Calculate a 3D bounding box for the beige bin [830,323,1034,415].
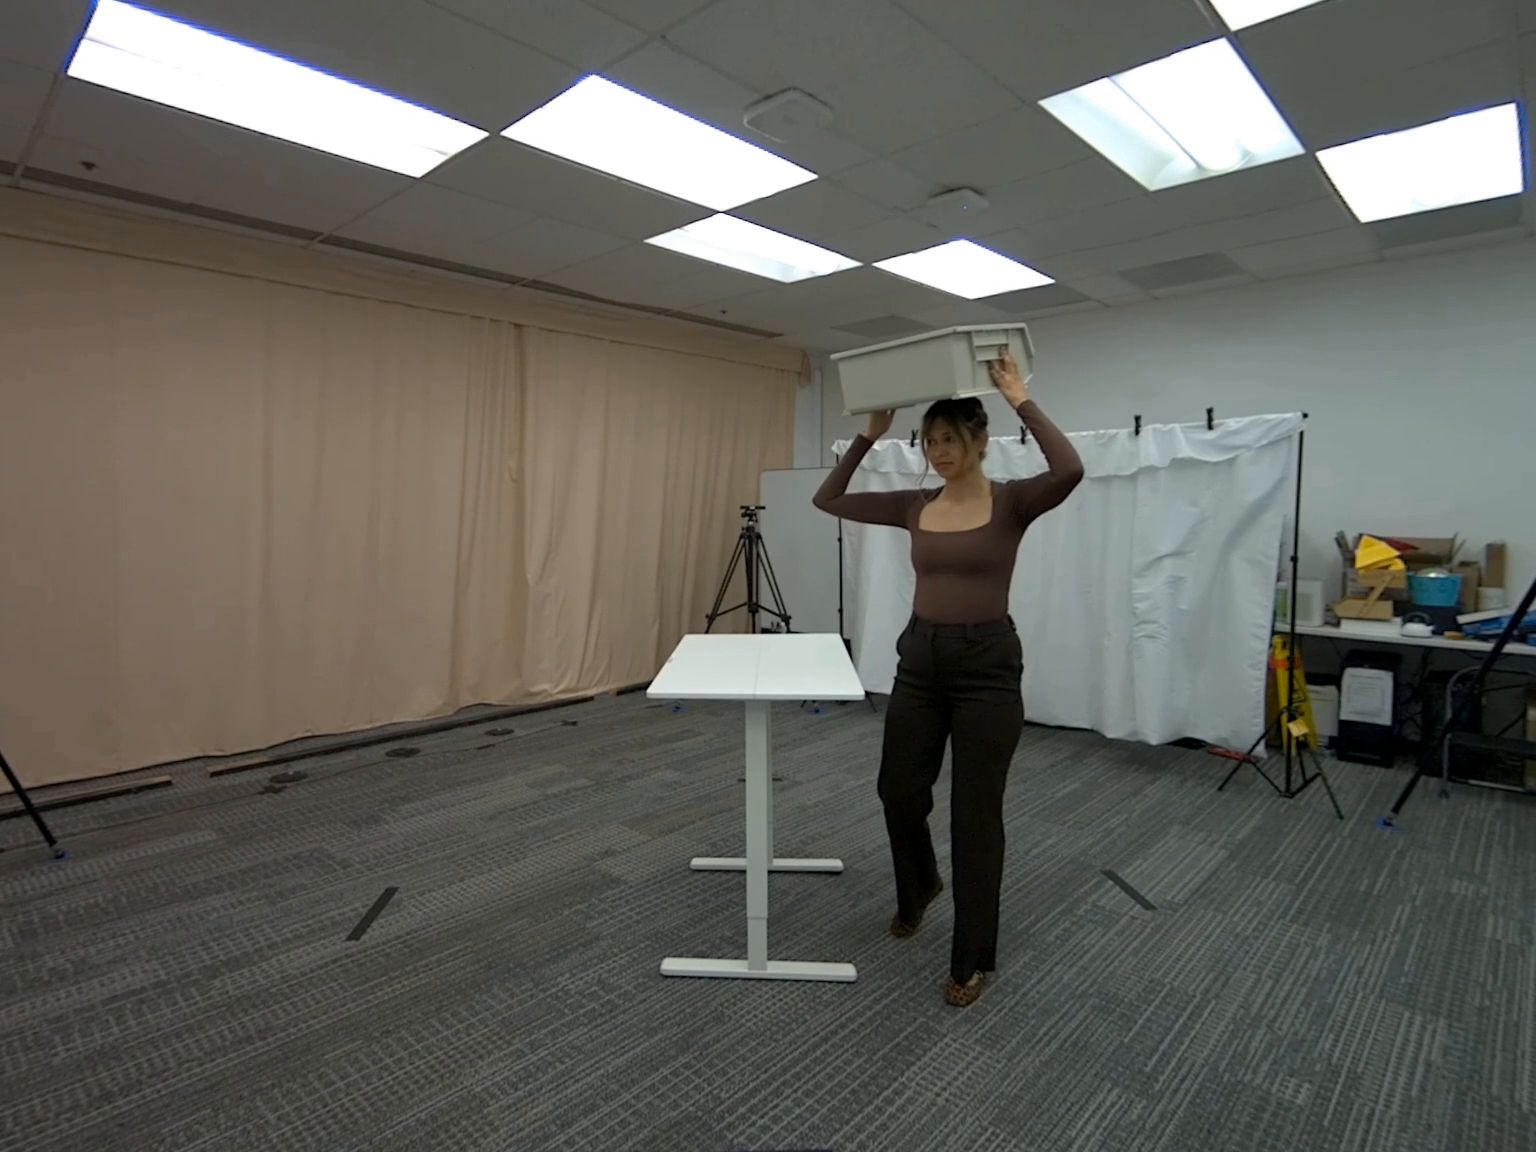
[{"bbox_3d":[0.478,-0.585,2.404,0.368,0.188,0.436,-17,12,-39],"label":"beige bin"}]
